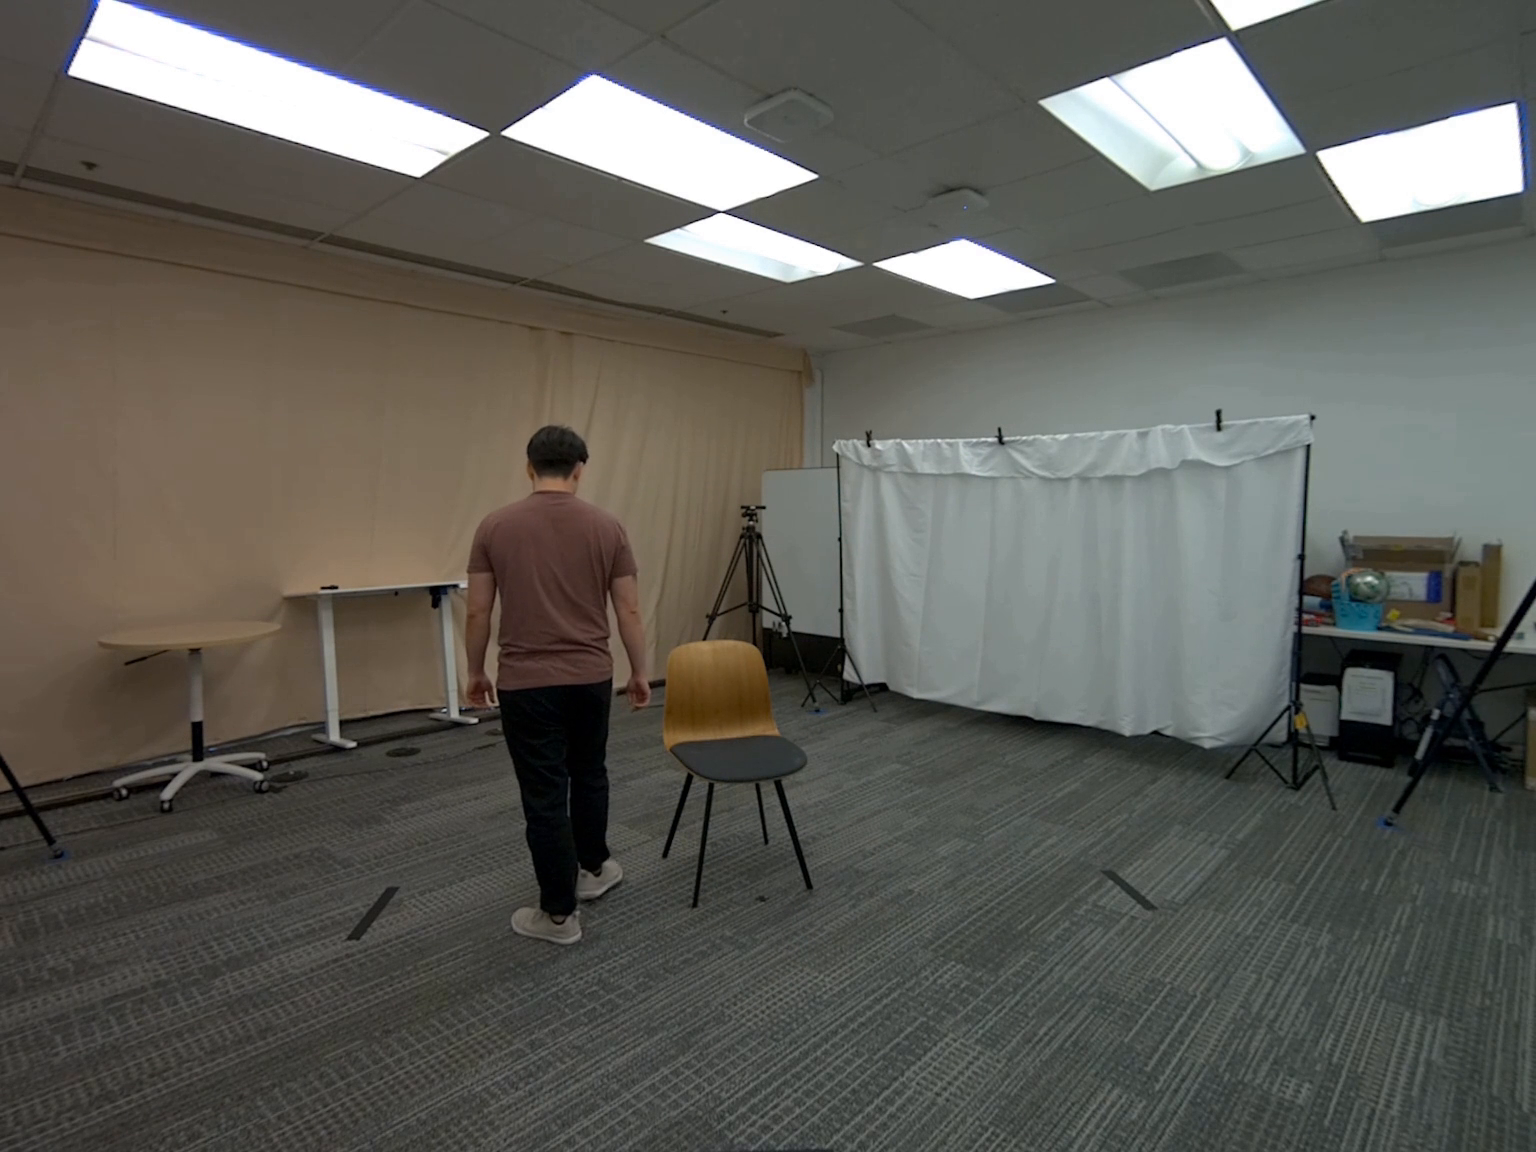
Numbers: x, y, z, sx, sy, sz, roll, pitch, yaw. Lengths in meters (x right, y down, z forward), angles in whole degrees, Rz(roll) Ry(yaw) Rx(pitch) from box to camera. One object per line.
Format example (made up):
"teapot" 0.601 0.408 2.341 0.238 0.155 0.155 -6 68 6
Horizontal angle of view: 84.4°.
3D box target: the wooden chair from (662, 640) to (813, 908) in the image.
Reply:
"wooden chair" -0.128 0.703 3.162 0.469 0.878 0.533 -1 -1 -19
